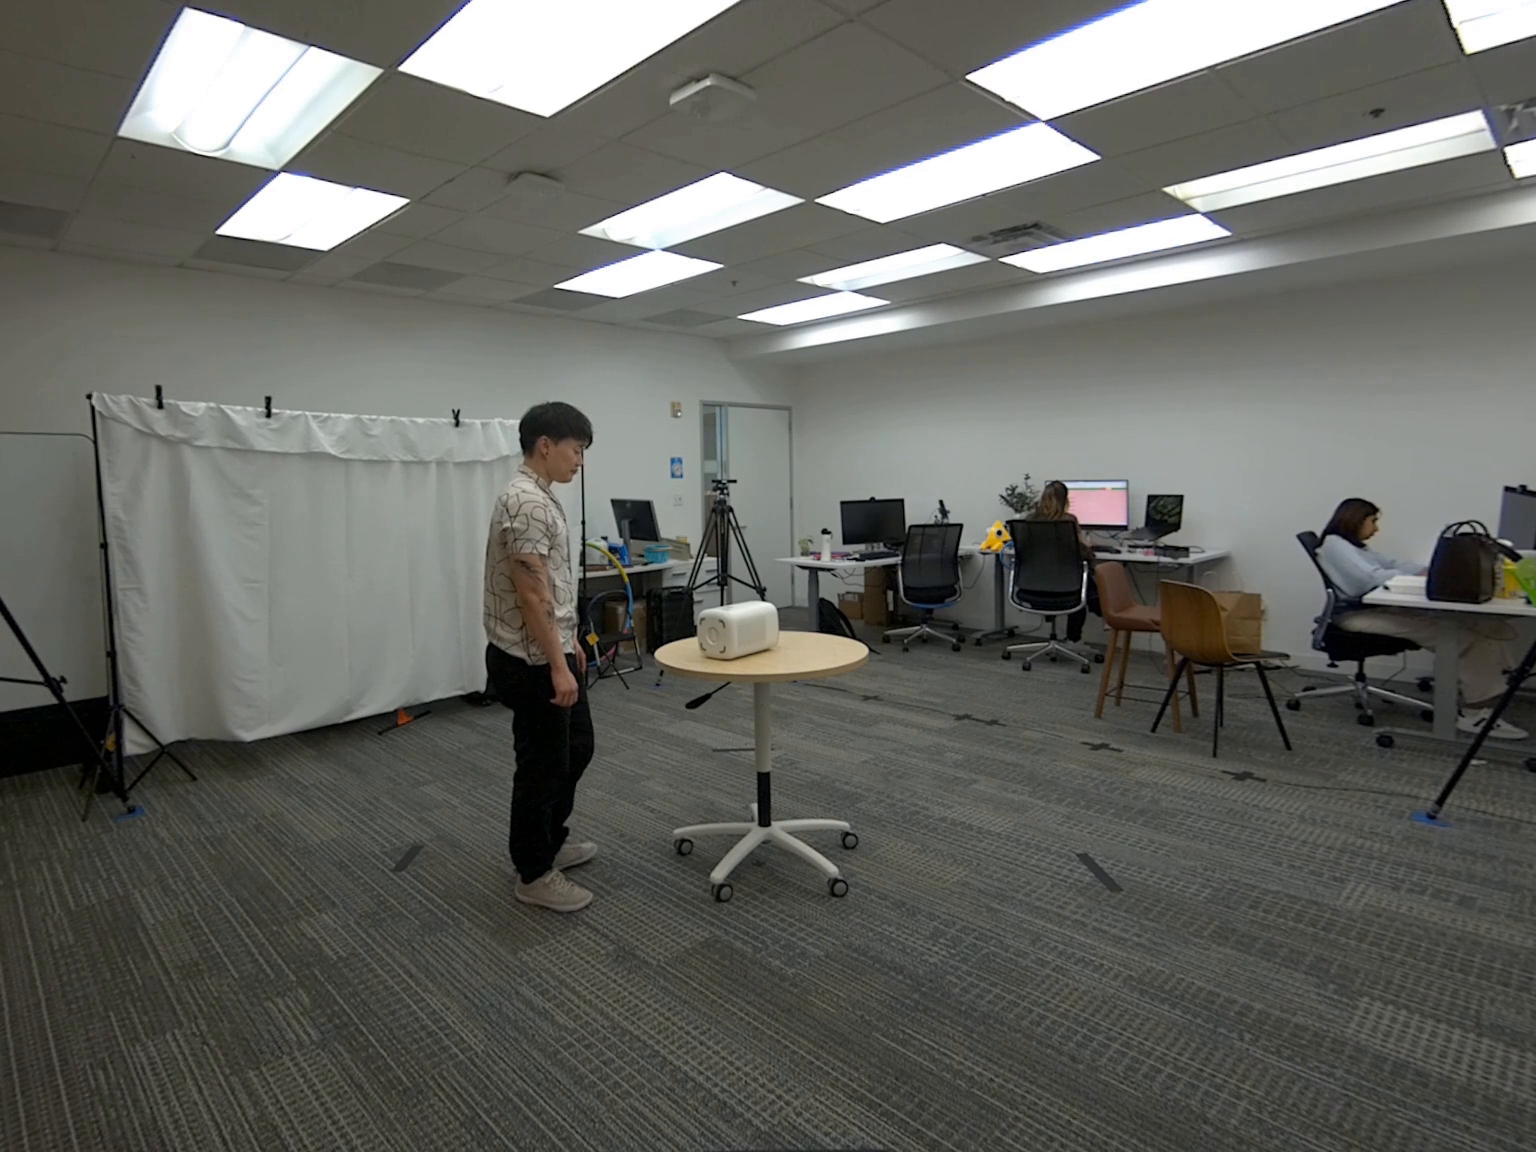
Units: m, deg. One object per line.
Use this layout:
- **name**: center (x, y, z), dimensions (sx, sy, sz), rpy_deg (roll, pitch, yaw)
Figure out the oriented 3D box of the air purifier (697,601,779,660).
- **air purifier**: center (-0.109, 0.186, 3.015), dimensions (0.176, 0.171, 0.259), rpy_deg (3, 7, 39)
